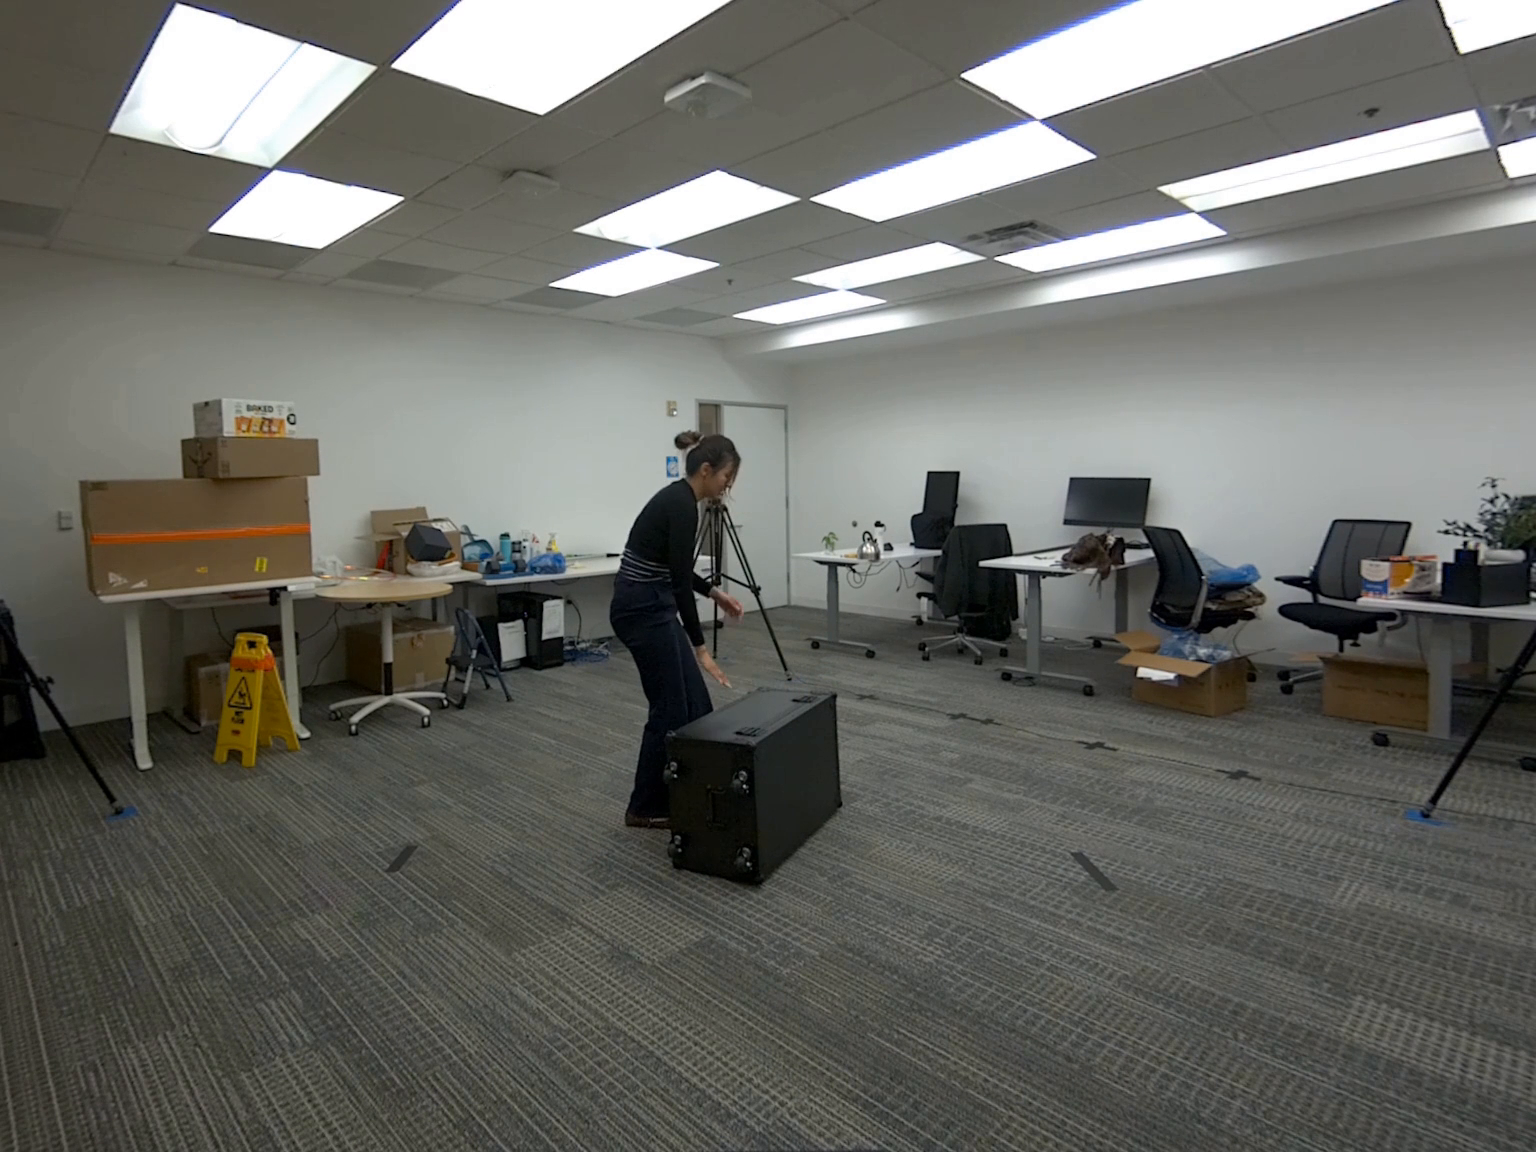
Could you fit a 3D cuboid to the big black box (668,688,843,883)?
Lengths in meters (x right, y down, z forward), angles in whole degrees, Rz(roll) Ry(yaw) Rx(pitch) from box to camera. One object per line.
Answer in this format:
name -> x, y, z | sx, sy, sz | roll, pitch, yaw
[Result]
big black box -> -0.056, 0.764, 3.298 | 0.405, 0.520, 0.844 | -1, 5, 26
